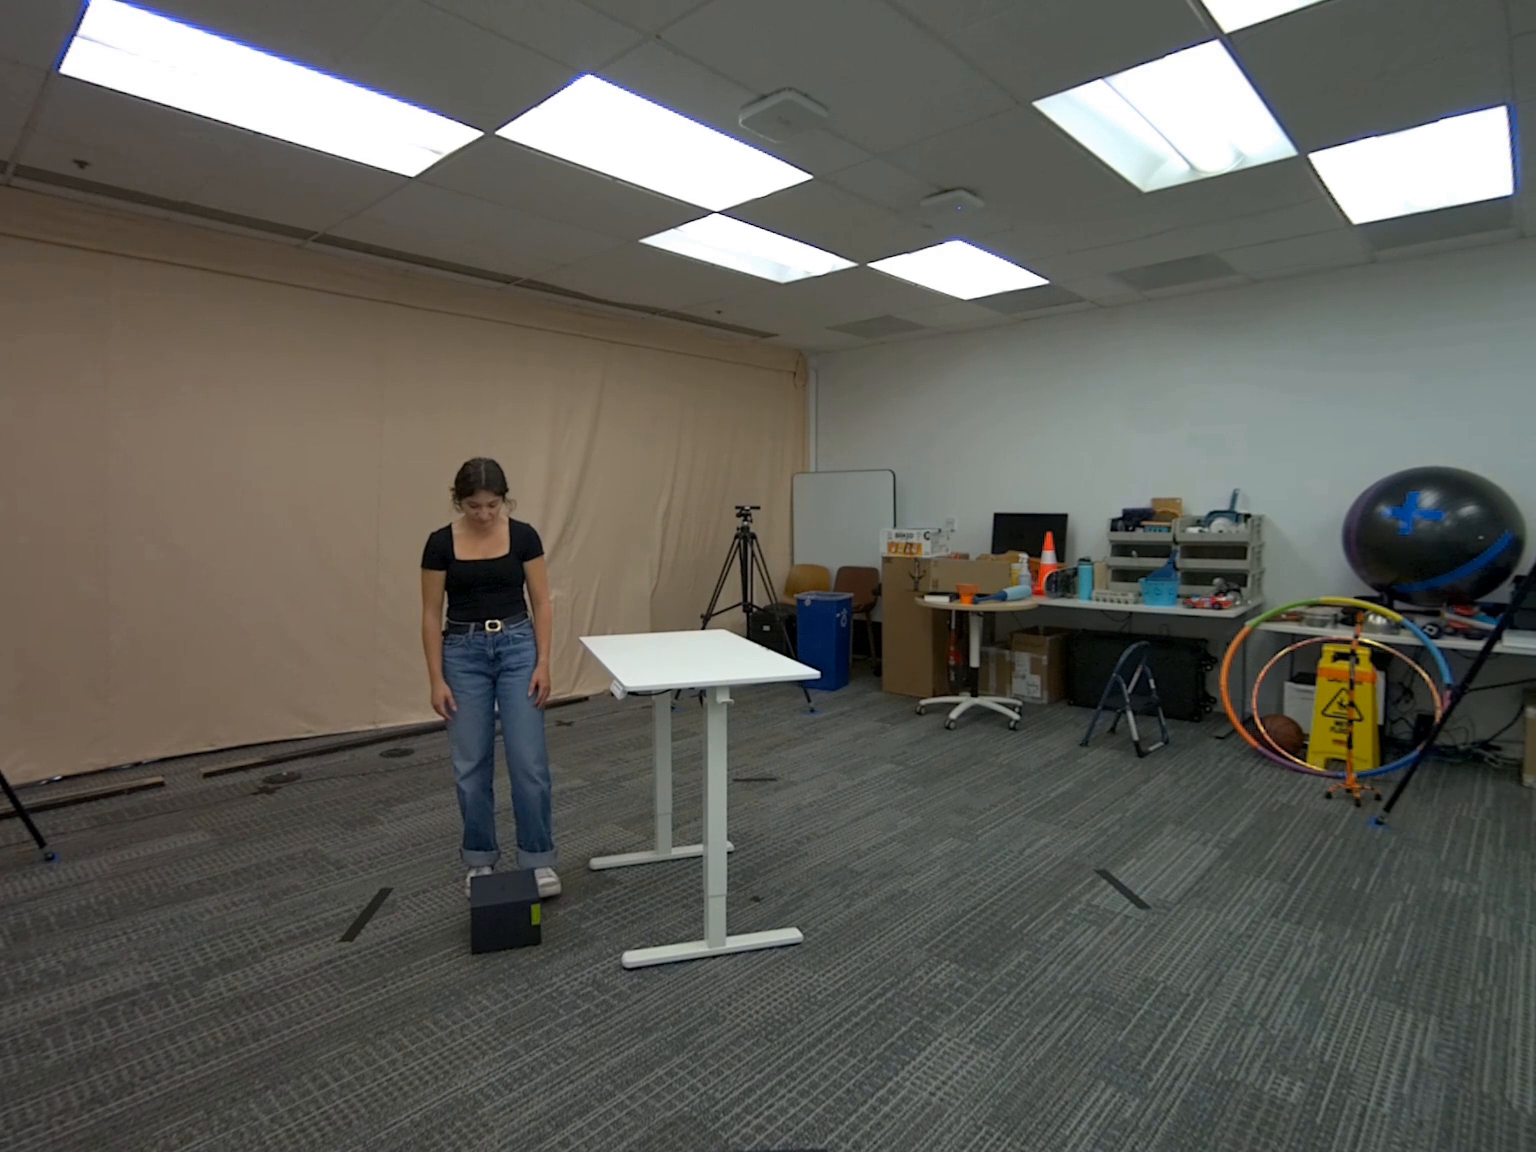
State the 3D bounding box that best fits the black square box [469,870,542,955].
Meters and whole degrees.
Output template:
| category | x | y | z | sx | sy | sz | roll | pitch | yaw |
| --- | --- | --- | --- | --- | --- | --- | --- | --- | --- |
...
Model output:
| category | x | y | z | sx | sy | sz | roll | pitch | yaw |
| --- | --- | --- | --- | --- | --- | --- | --- | --- | --- |
| black square box | -0.862 | 1.088 | 2.747 | 0.213 | 0.155 | 0.233 | -2 | 4 | -19 |
